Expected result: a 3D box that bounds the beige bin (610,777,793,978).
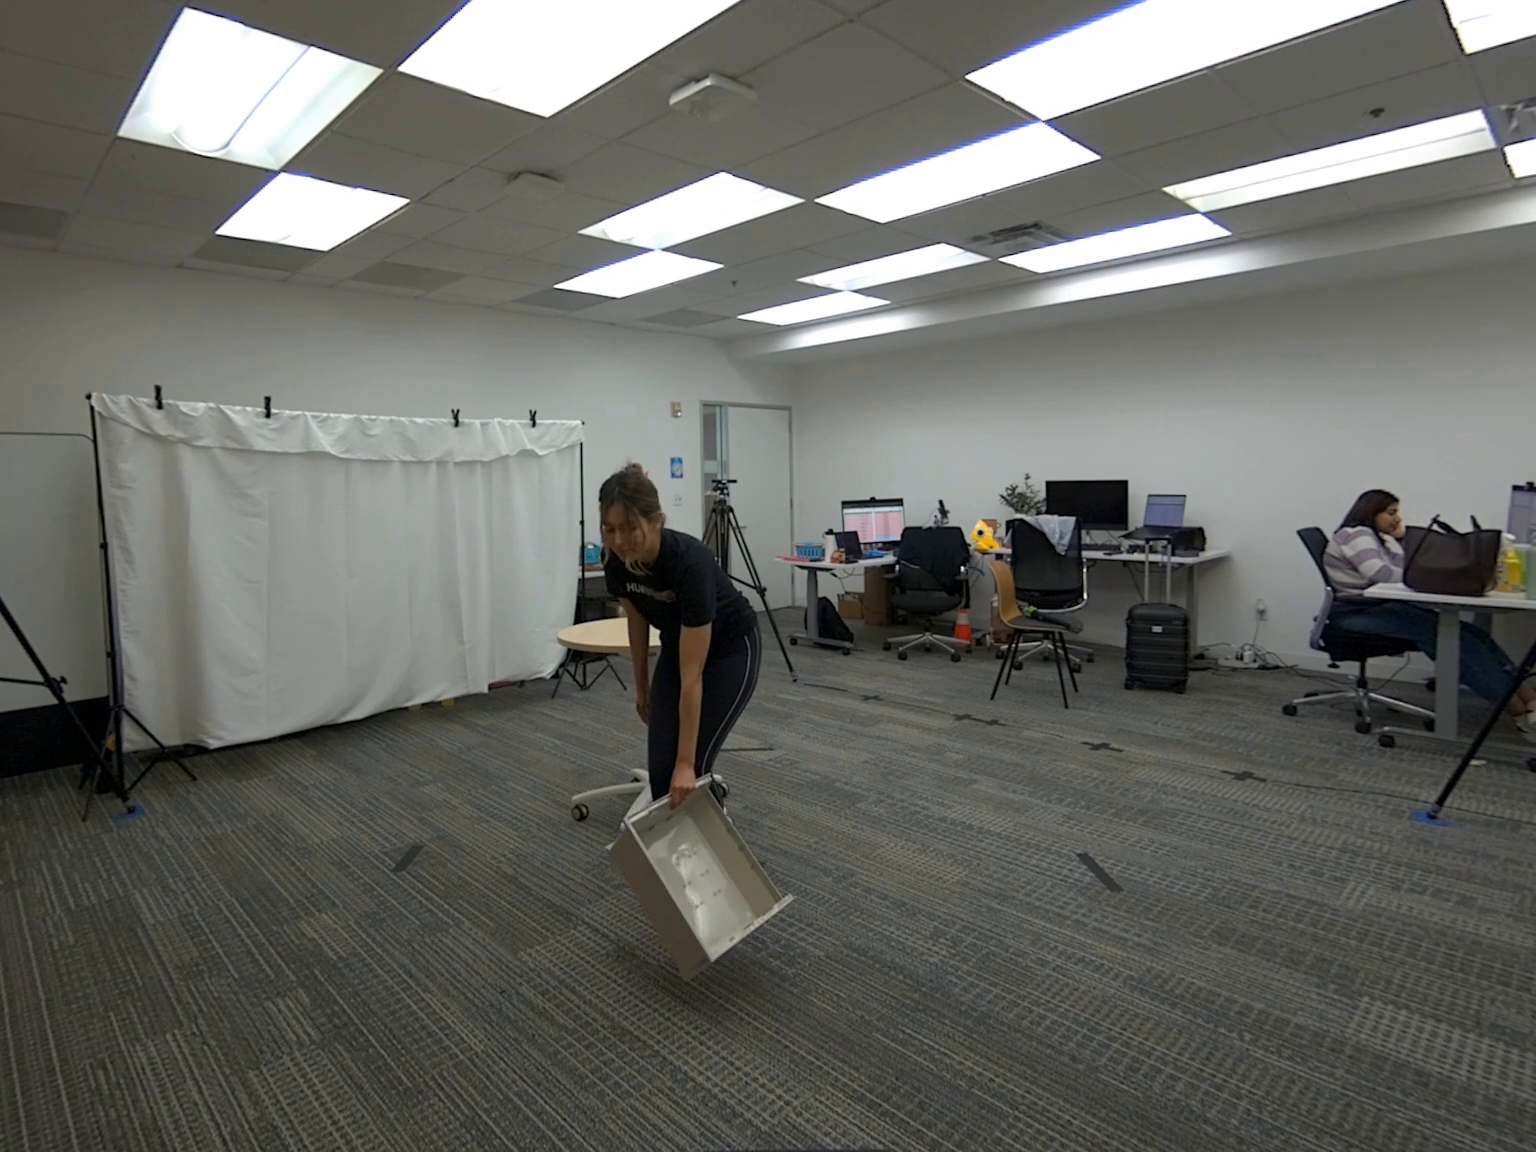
[{"bbox_3d":[-0.179,0.829,2.408,0.369,0.434,0.187,-15,-32,-44],"label":"beige bin"}]
